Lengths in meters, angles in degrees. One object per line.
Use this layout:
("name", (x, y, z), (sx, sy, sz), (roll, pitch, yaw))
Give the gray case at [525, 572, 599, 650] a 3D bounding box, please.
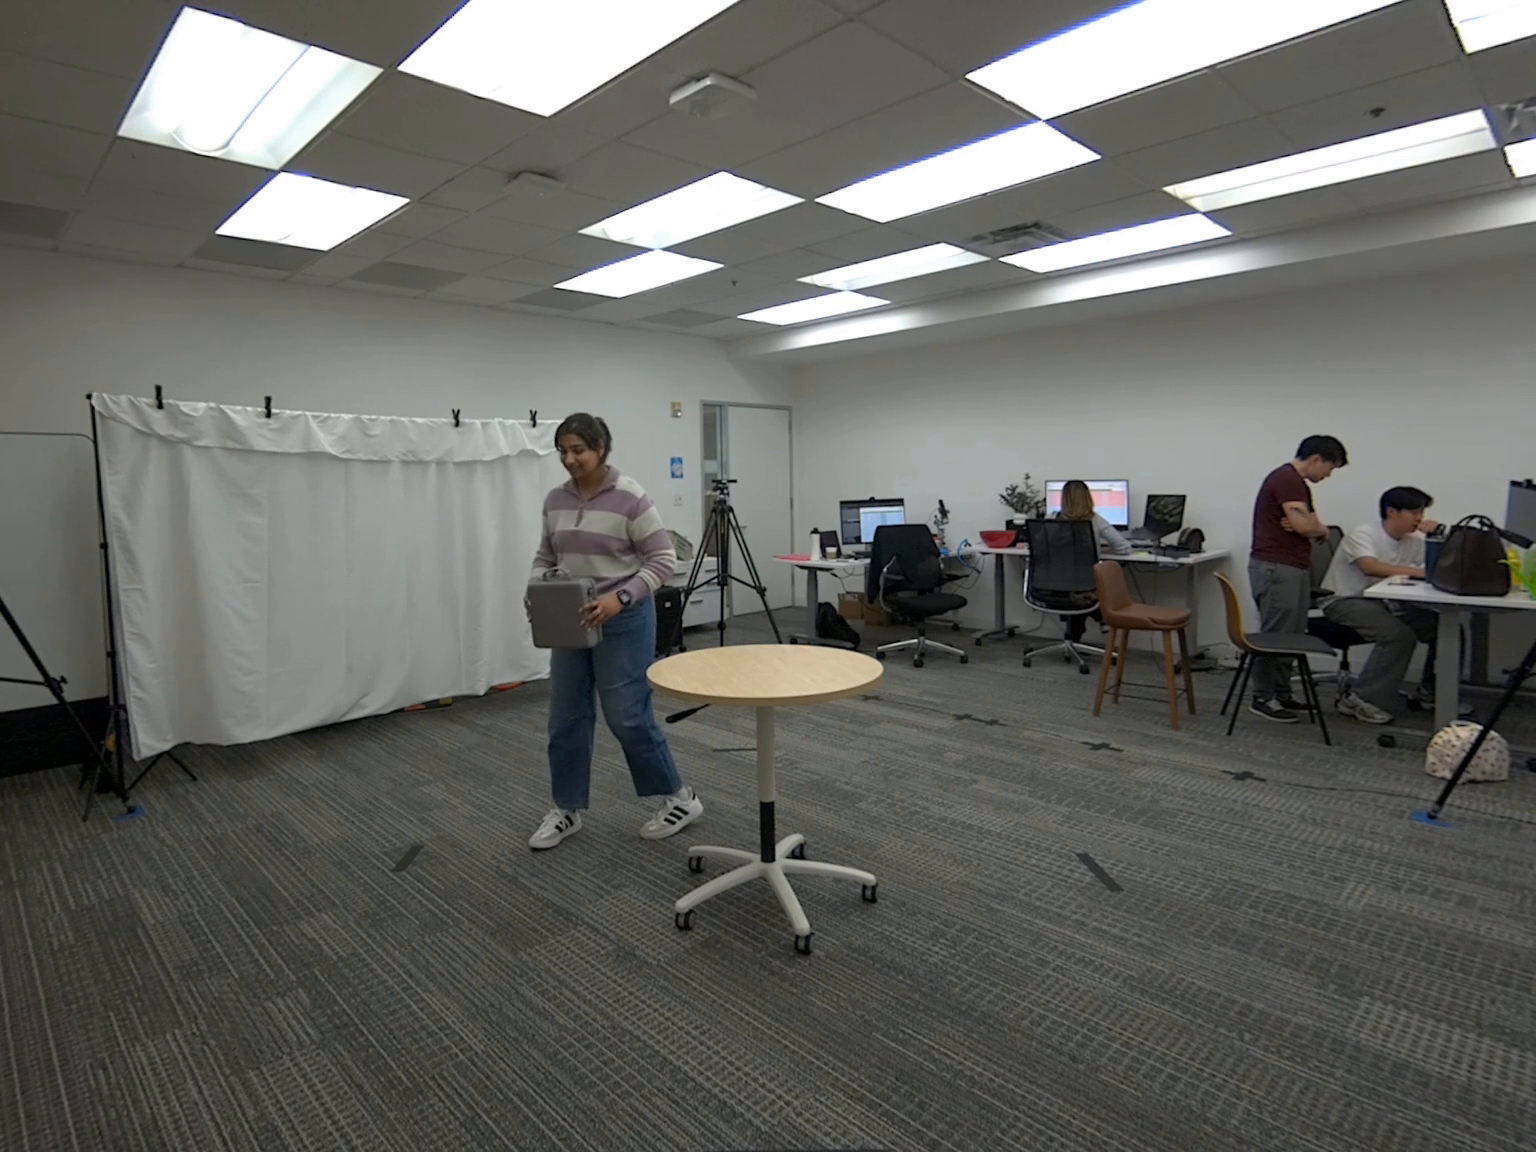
("gray case", (-0.740, 0.131, 3.112), (0.262, 0.259, 0.103), (-4, 7, 24))
